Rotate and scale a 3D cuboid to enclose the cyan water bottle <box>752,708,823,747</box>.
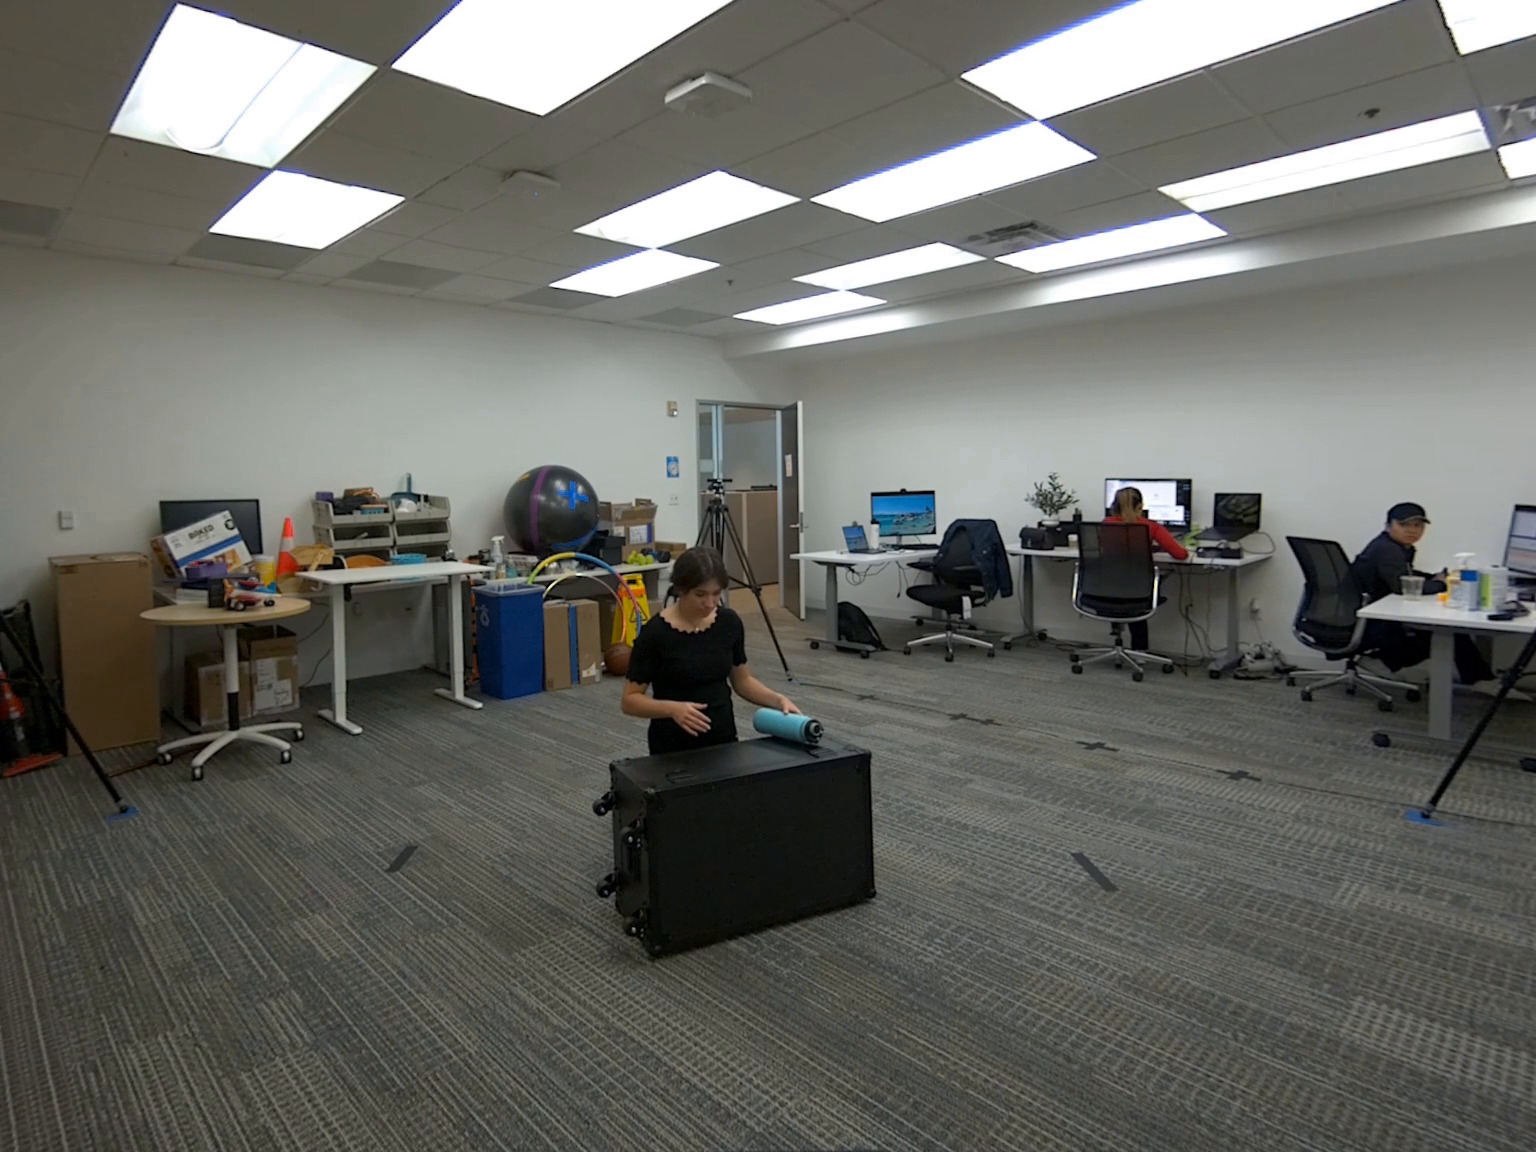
[{"bbox_3d":[0.063,0.525,2.975,0.090,0.092,0.291,-5,2,-42],"label":"cyan water bottle"}]
